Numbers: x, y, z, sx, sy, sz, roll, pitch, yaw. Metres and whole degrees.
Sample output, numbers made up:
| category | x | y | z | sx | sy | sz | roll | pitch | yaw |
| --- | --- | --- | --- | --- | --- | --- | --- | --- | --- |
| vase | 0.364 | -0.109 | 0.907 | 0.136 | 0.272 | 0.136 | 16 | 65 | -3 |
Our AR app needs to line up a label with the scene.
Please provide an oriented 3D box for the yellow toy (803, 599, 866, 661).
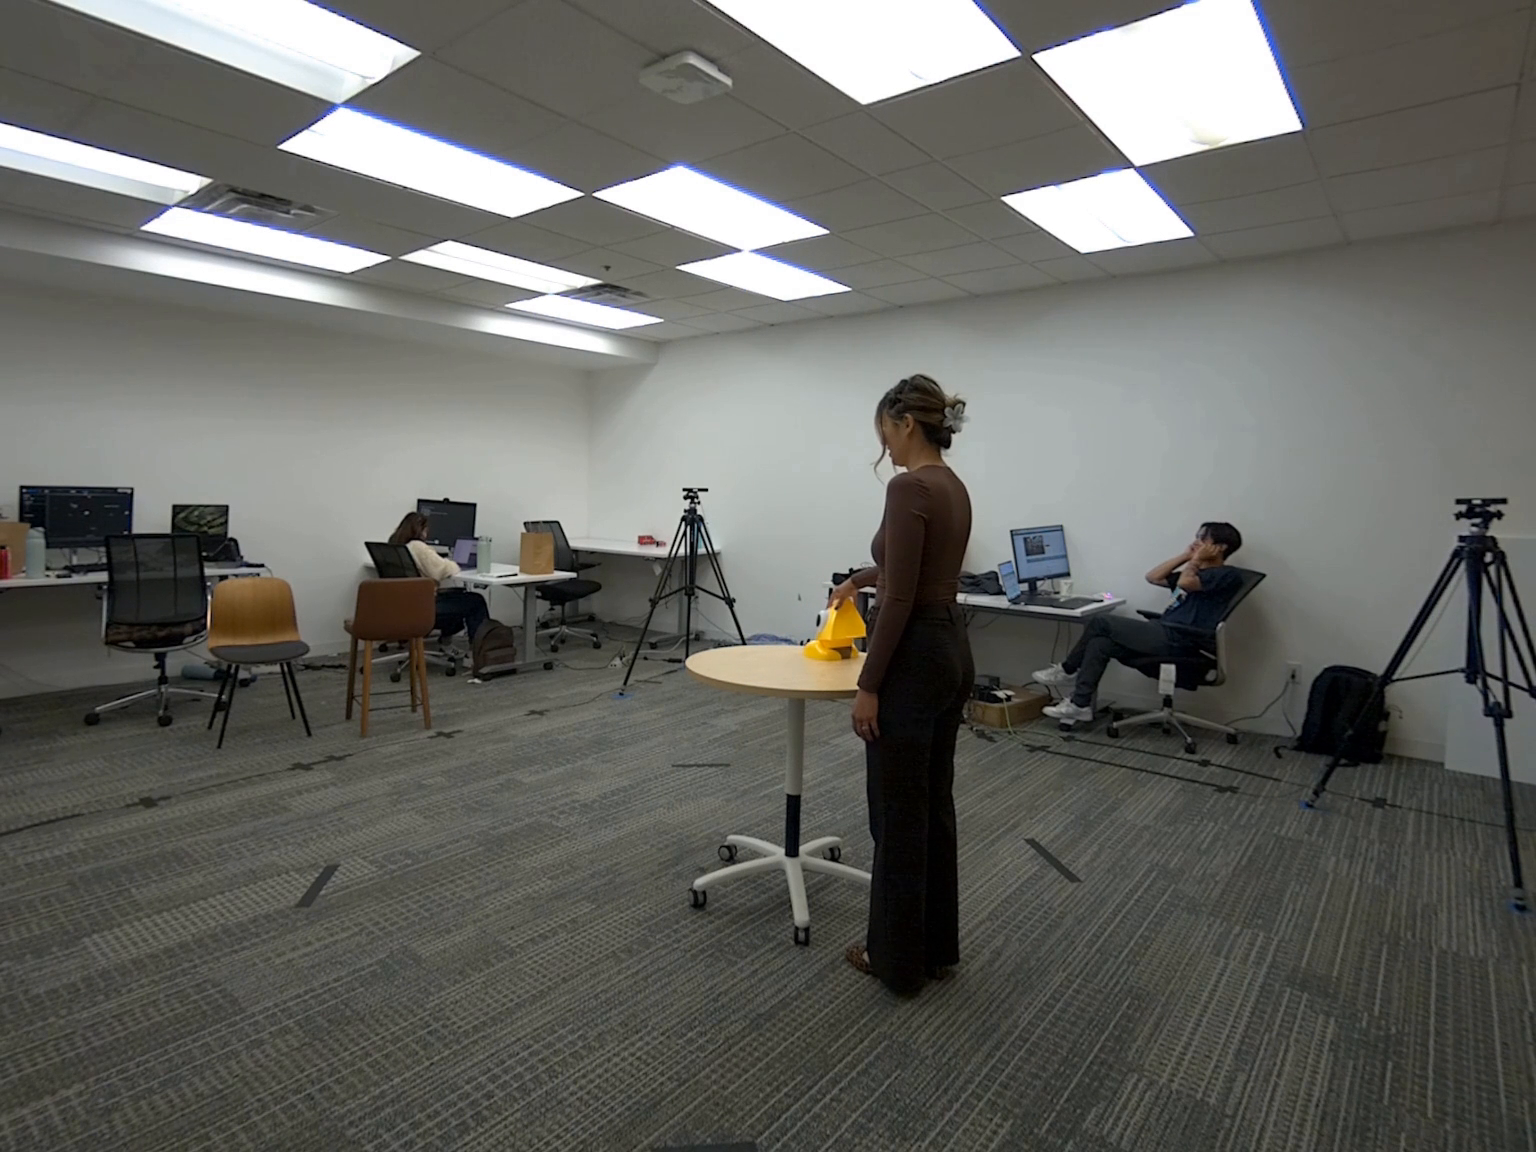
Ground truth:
| category | x | y | z | sx | sy | sz | roll | pitch | yaw |
| --- | --- | --- | --- | --- | --- | --- | --- | --- | --- |
| yellow toy | 0.227 | 0.172 | 3.078 | 0.198 | 0.230 | 0.199 | 0 | 4 | -39 |
